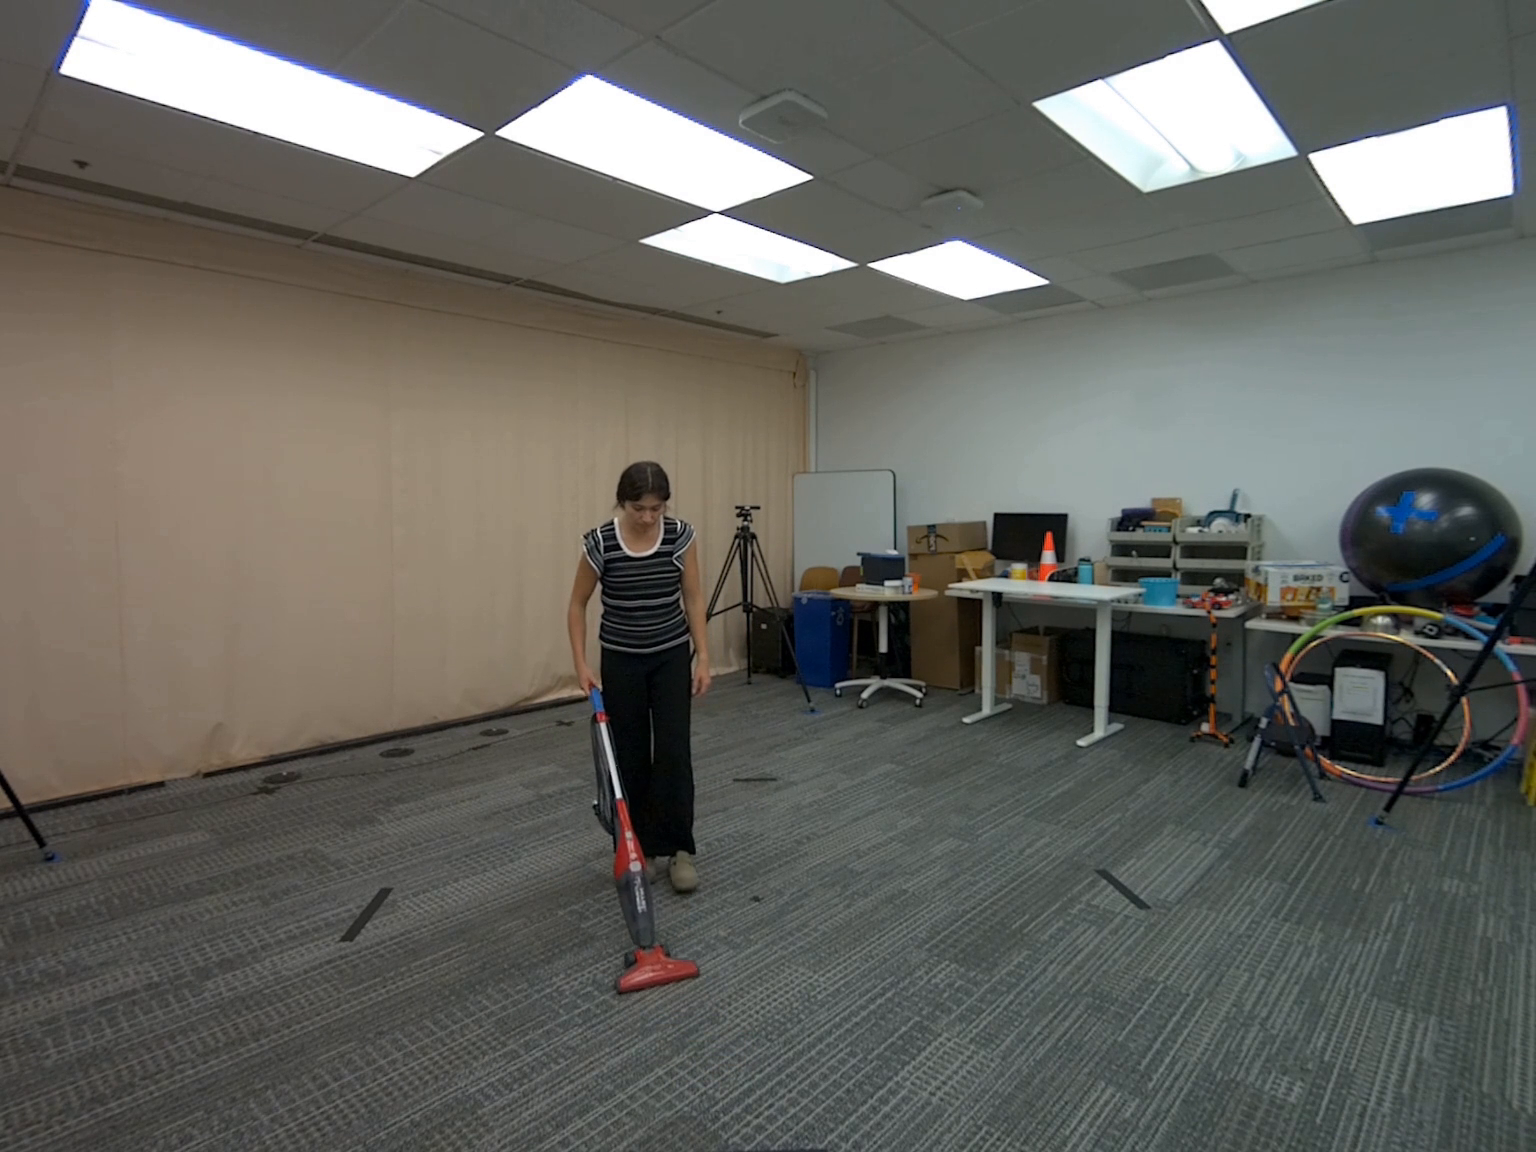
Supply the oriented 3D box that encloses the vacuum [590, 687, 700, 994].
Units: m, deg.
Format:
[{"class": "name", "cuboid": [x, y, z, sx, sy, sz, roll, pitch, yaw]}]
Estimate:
[{"class": "vacuum", "cuboid": [-0.493, 0.780, 2.821, 0.247, 0.143, 1.079, -1, 47, -25]}]
